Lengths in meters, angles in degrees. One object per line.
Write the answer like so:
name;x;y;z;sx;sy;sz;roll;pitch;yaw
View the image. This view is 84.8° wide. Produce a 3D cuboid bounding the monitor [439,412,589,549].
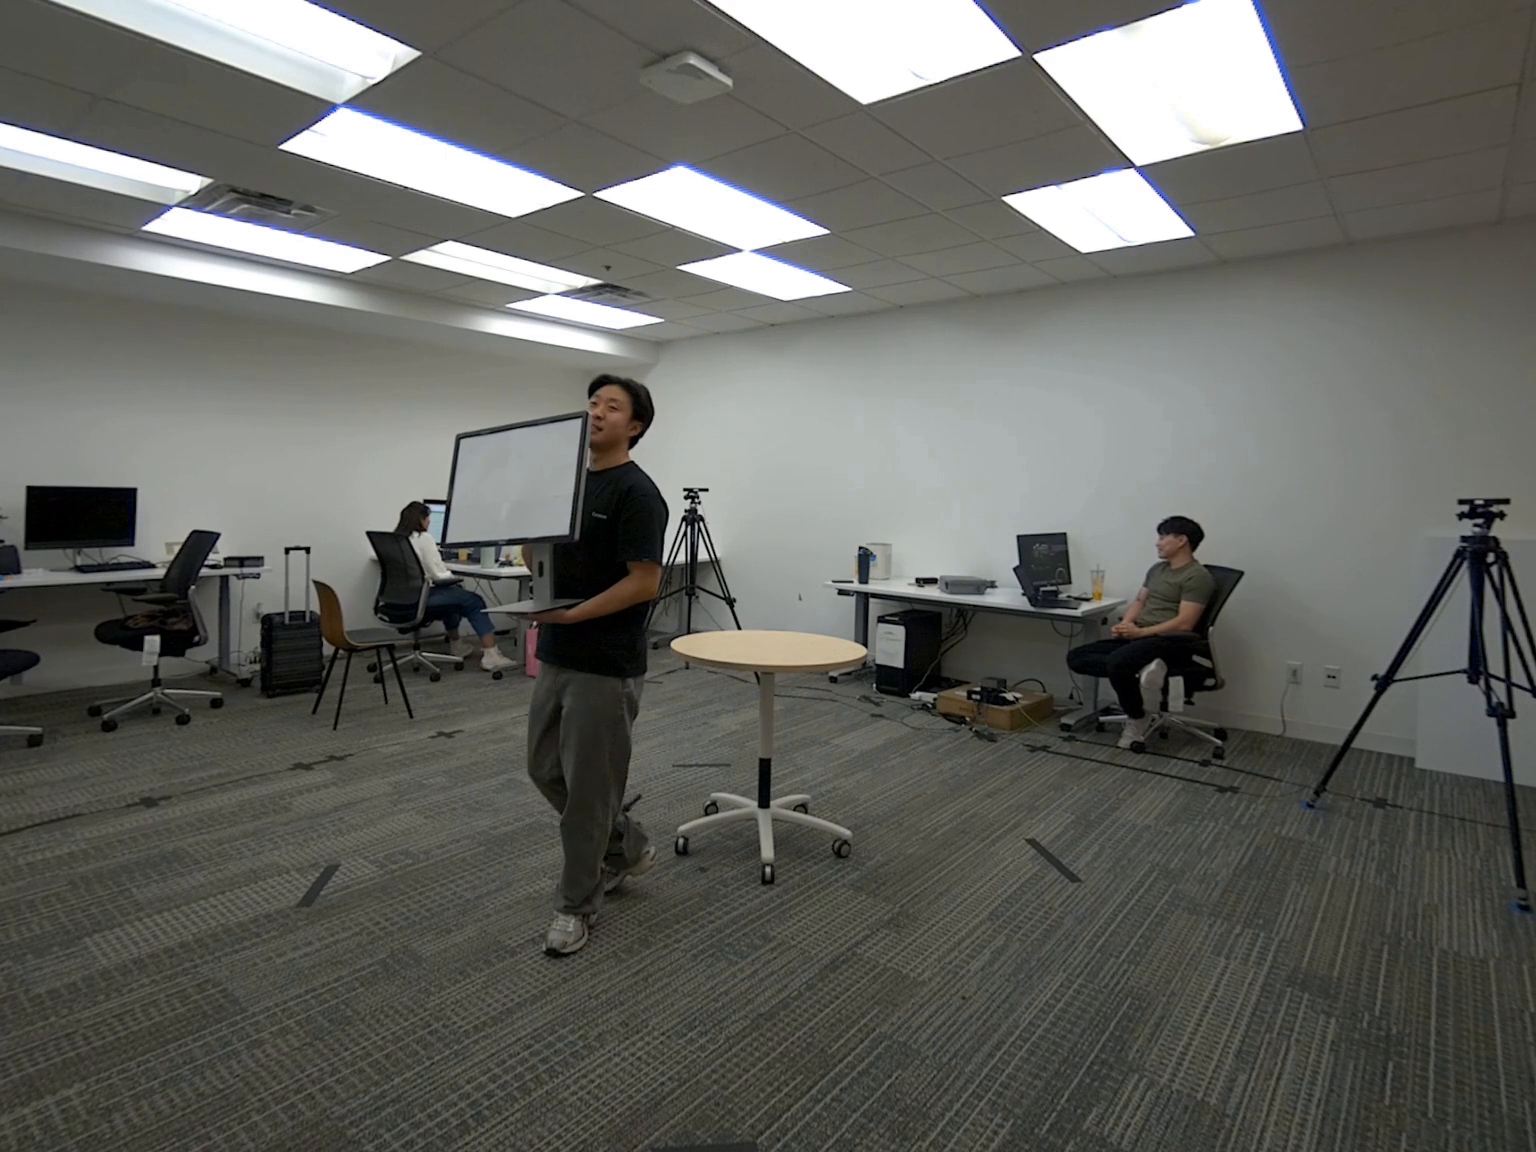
monitor;-0.716;-0.166;2.483;0.578;0.565;0.216;-3;3;37
